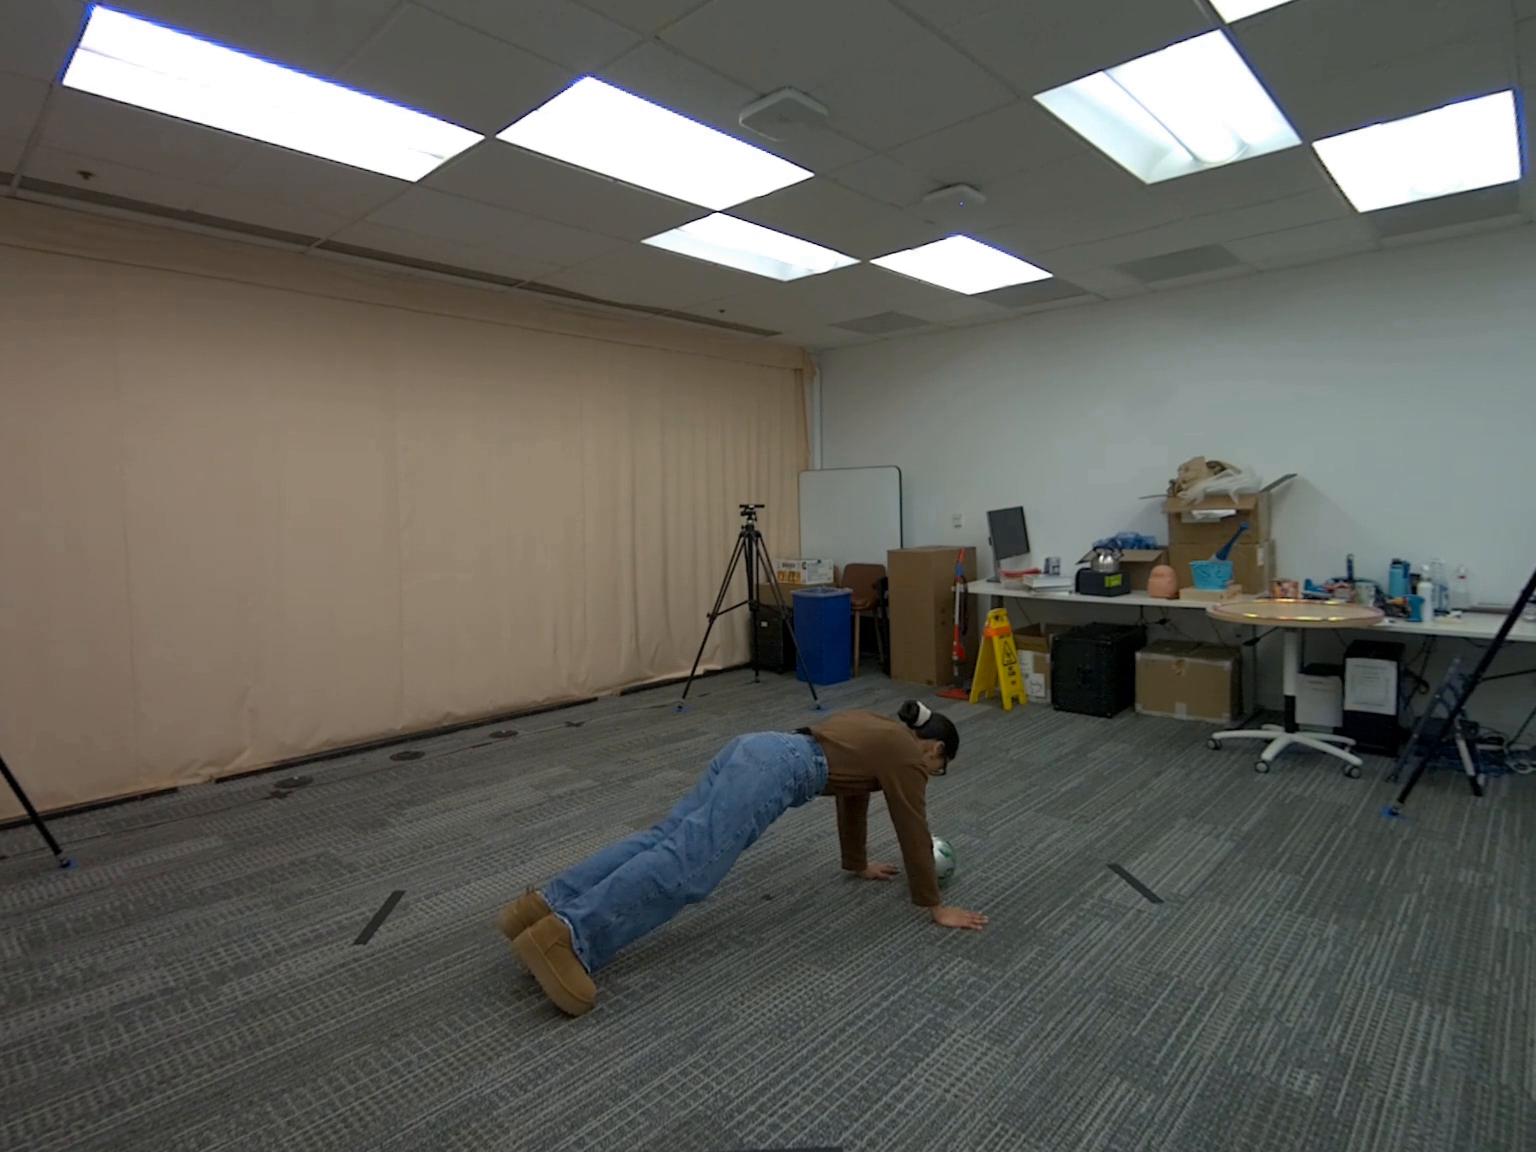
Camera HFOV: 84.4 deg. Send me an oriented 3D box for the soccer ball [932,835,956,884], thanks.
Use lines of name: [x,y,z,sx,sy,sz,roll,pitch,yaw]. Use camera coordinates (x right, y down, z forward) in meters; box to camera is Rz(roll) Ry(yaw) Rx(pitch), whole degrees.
soccer ball: [0.598,1.031,3.059,0.187,0.187,0.188,-1,4,-2]
